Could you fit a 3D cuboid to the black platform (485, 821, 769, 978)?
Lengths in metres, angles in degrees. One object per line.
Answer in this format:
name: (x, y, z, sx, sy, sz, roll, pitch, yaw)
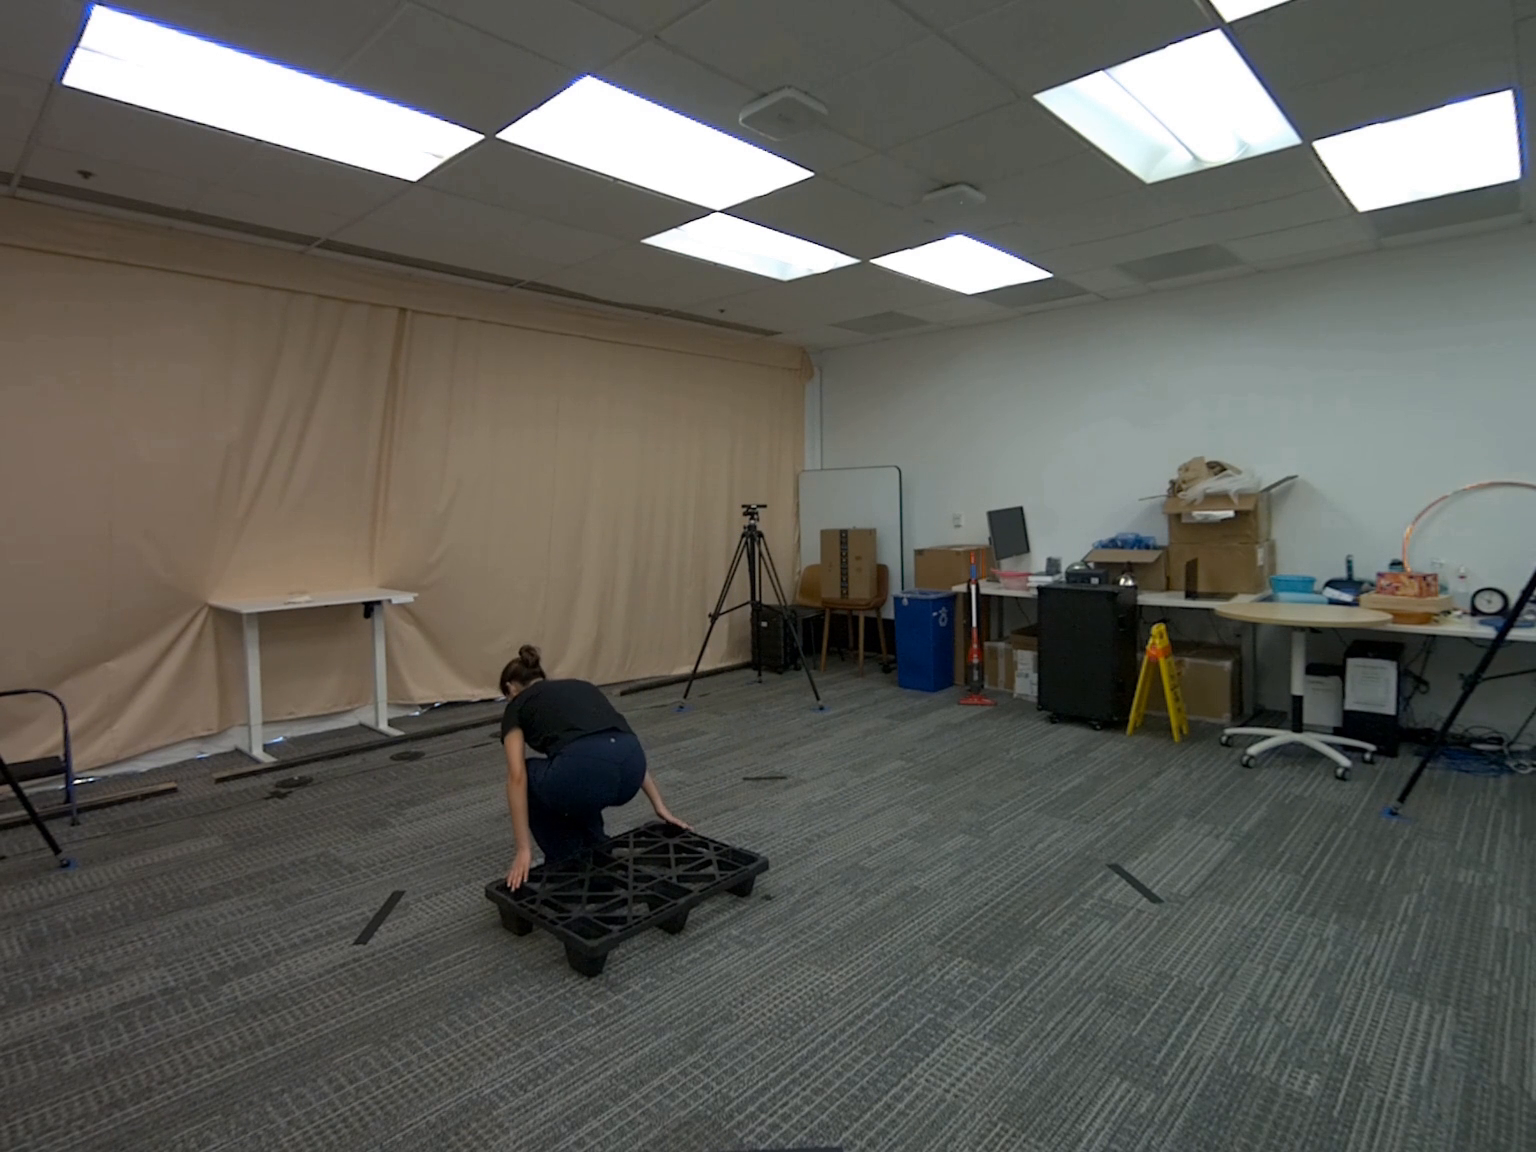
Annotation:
black platform: (-0.447, 1.087, 2.910, 0.625, 0.143, 0.782, 4, 8, 41)
